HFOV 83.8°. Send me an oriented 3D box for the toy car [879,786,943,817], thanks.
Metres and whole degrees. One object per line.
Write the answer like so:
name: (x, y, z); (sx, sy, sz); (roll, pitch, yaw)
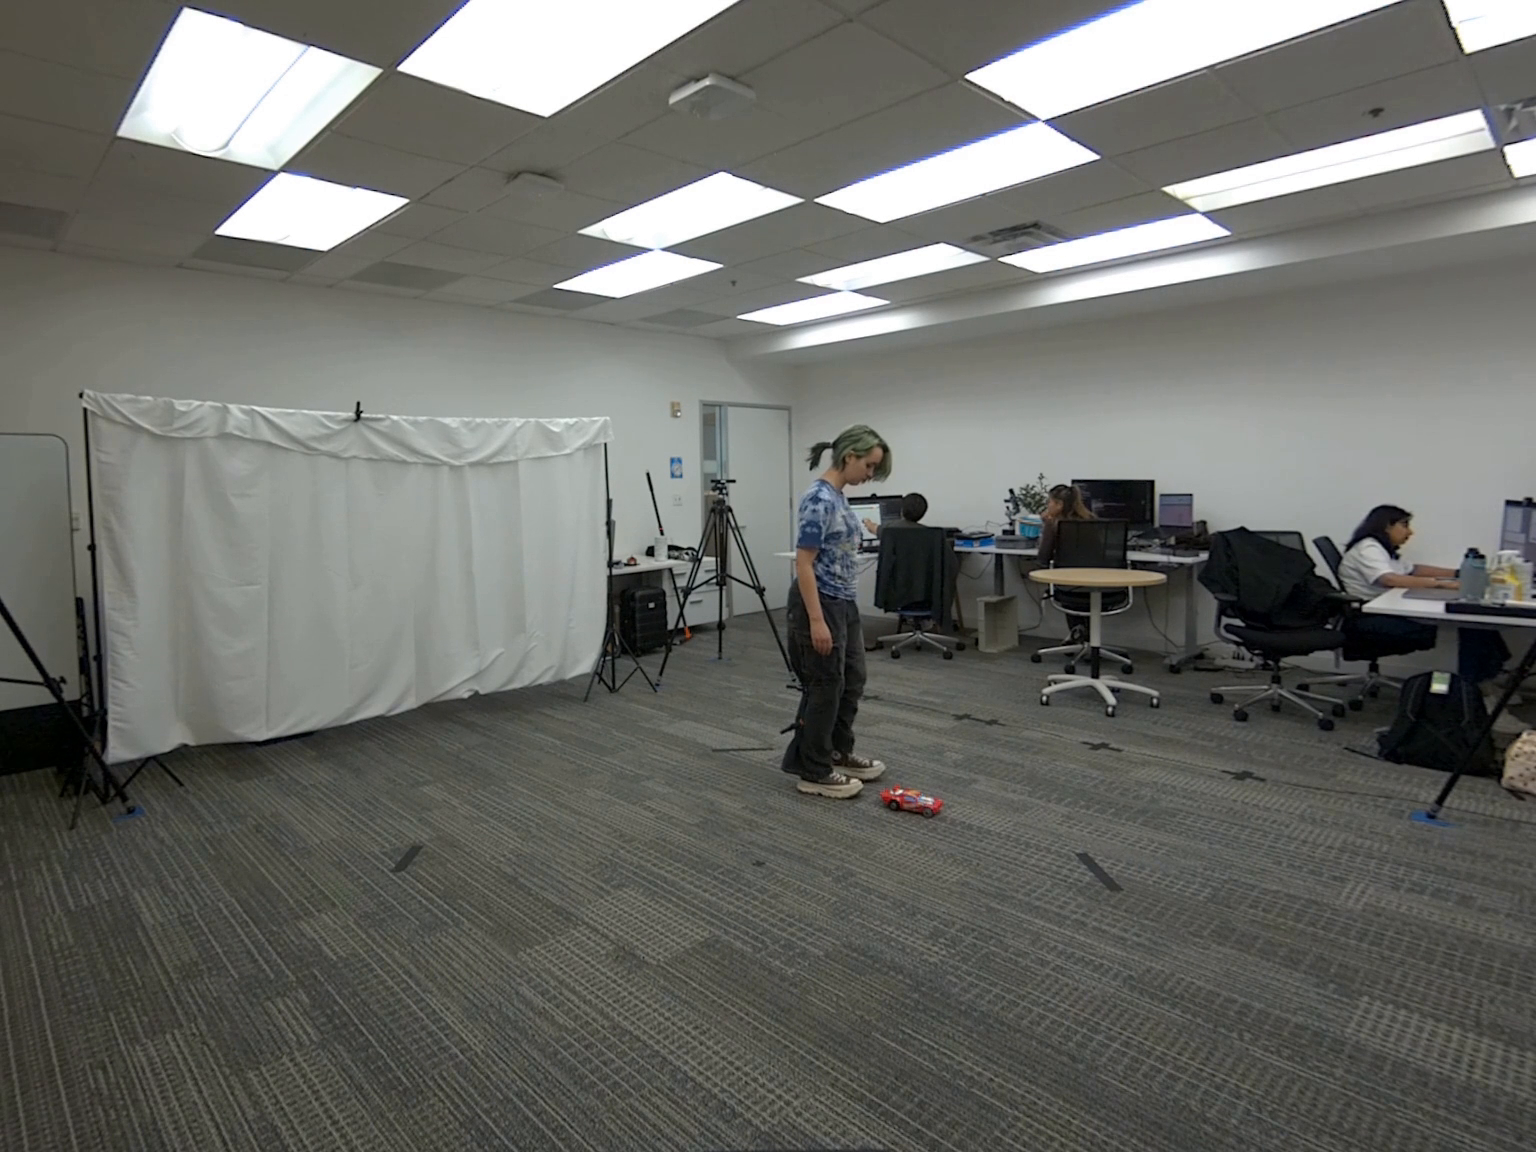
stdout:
toy car: (0.600, 0.951, 3.602); (0.262, 0.082, 0.127); (14, 13, 30)
